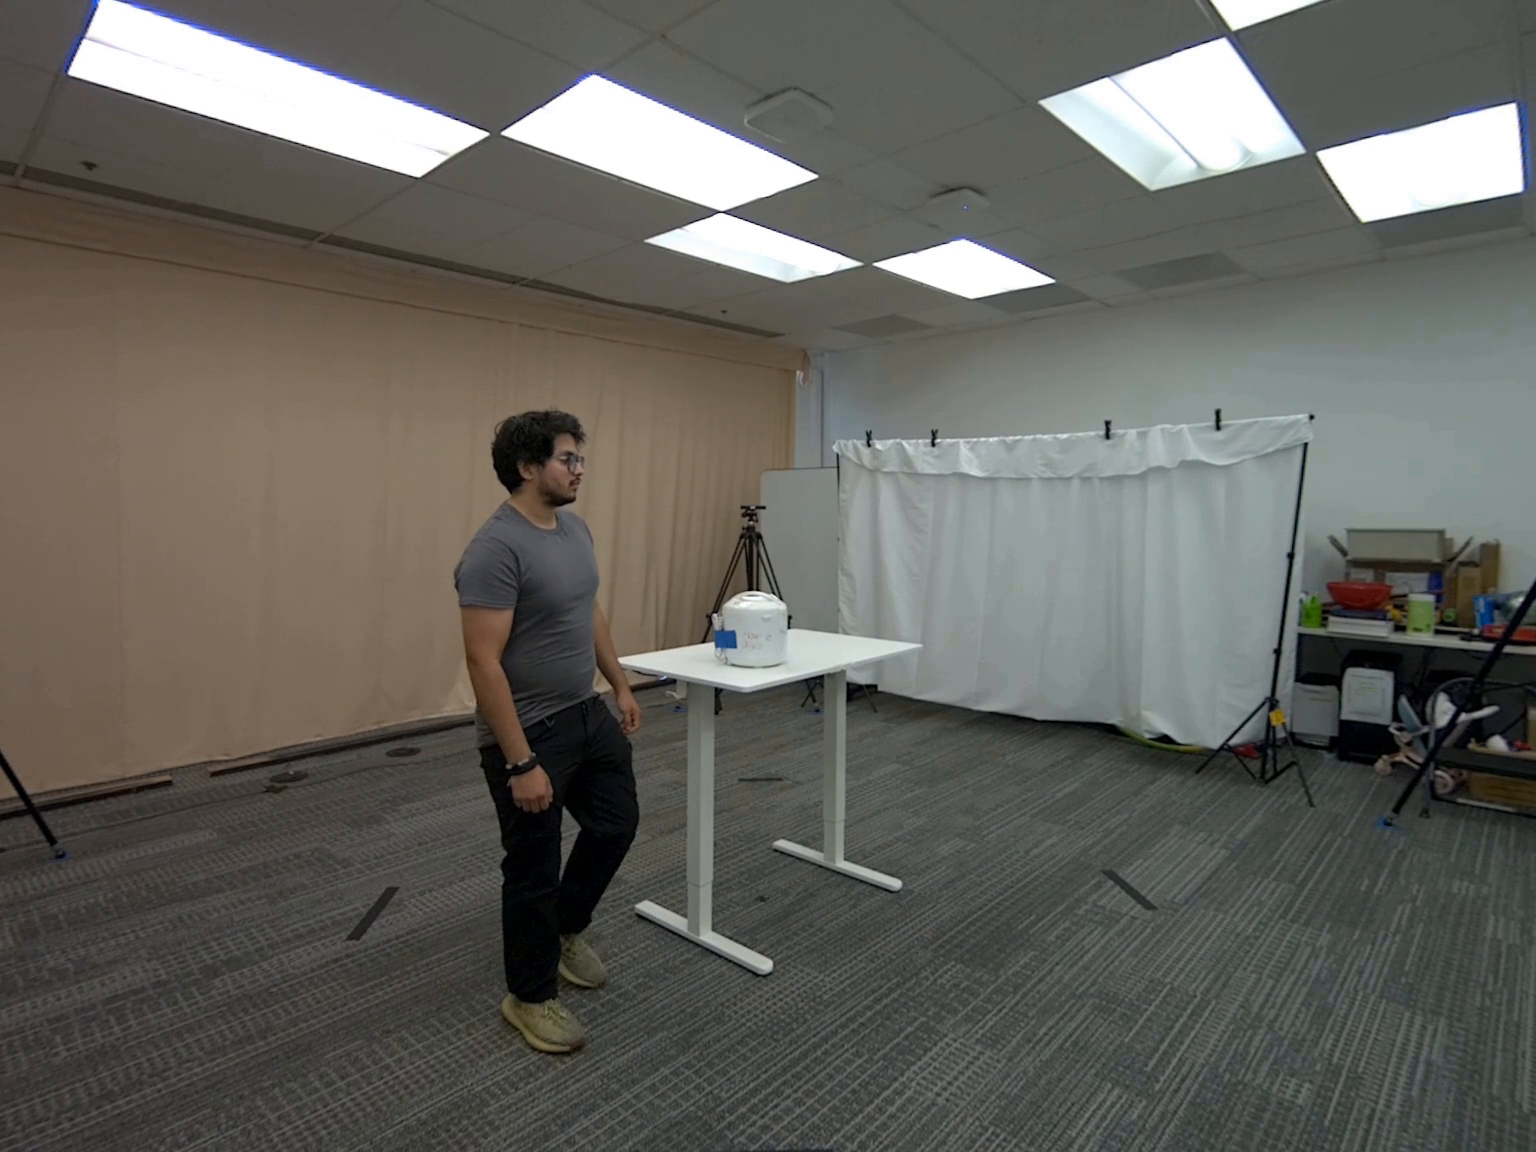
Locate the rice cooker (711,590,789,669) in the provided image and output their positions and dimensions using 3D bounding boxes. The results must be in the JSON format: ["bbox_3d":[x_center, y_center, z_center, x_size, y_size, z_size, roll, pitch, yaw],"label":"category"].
[{"bbox_3d":[-0.041,0.166,2.716,0.227,0.232,0.211,3,6,32],"label":"rice cooker"}]
